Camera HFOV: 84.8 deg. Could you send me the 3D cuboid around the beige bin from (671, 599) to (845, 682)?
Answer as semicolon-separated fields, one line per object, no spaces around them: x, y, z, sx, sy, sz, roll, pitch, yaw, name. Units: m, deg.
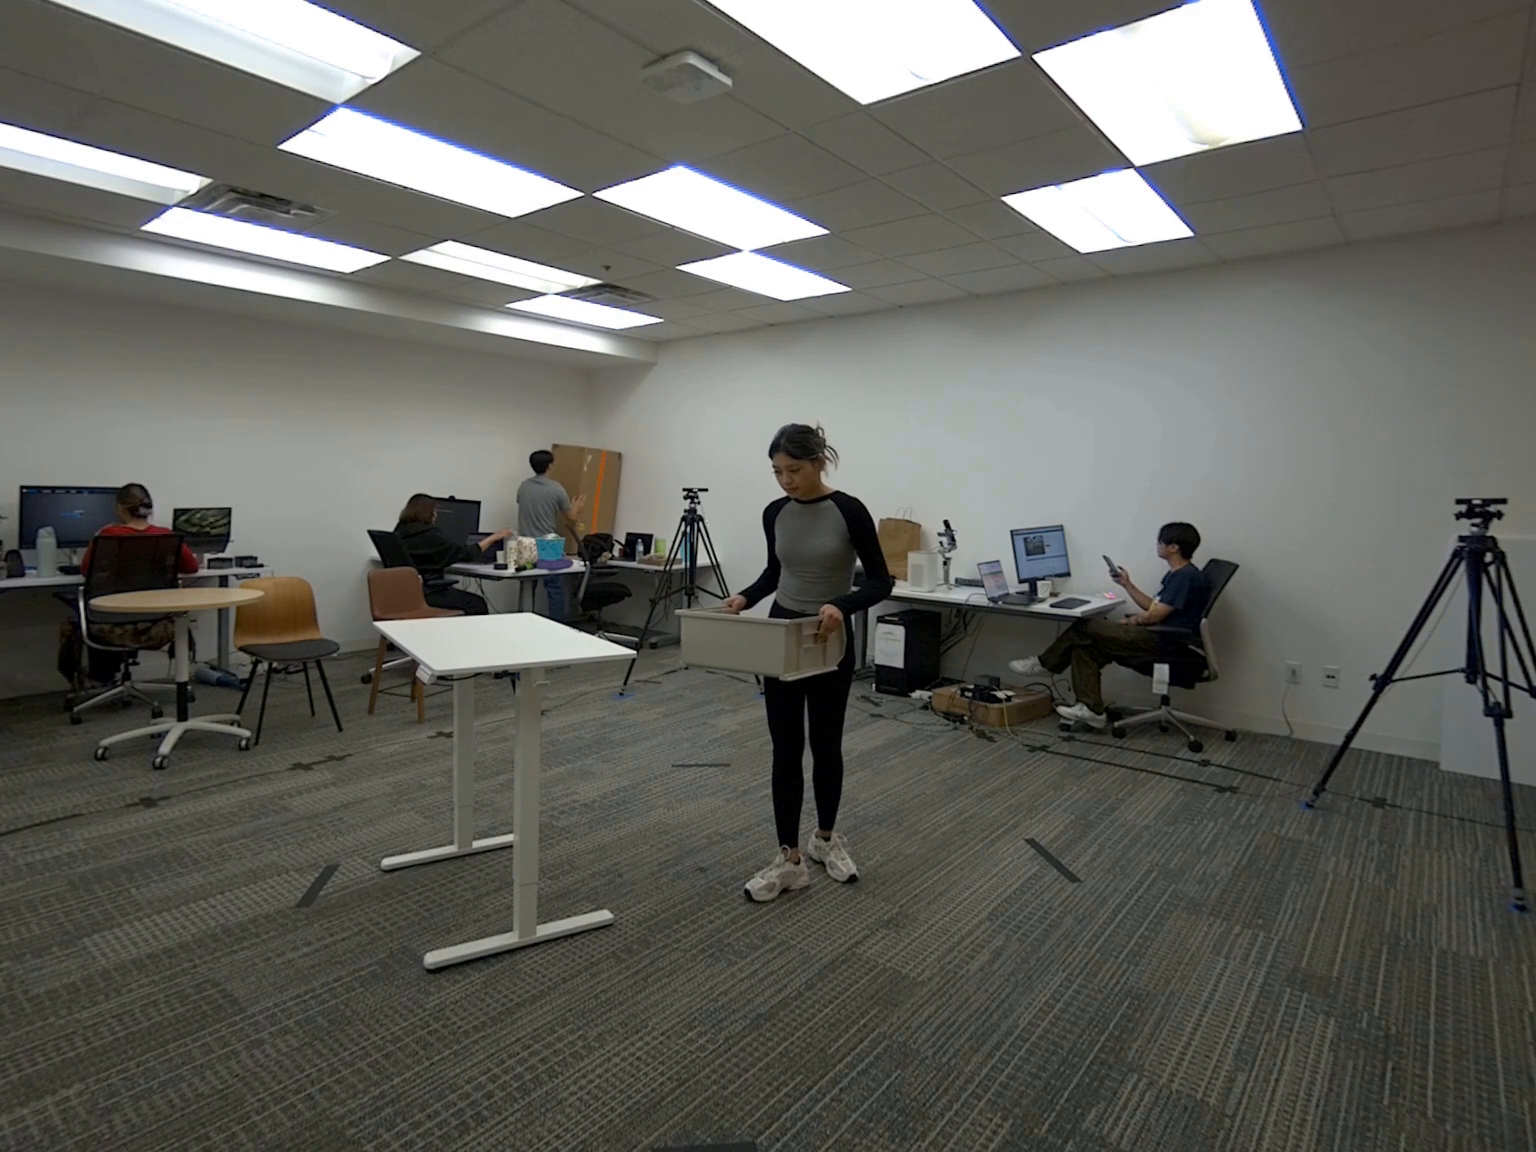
-0.029;0.198;2.734;0.436;0.188;0.367;5;6;34;beige bin
